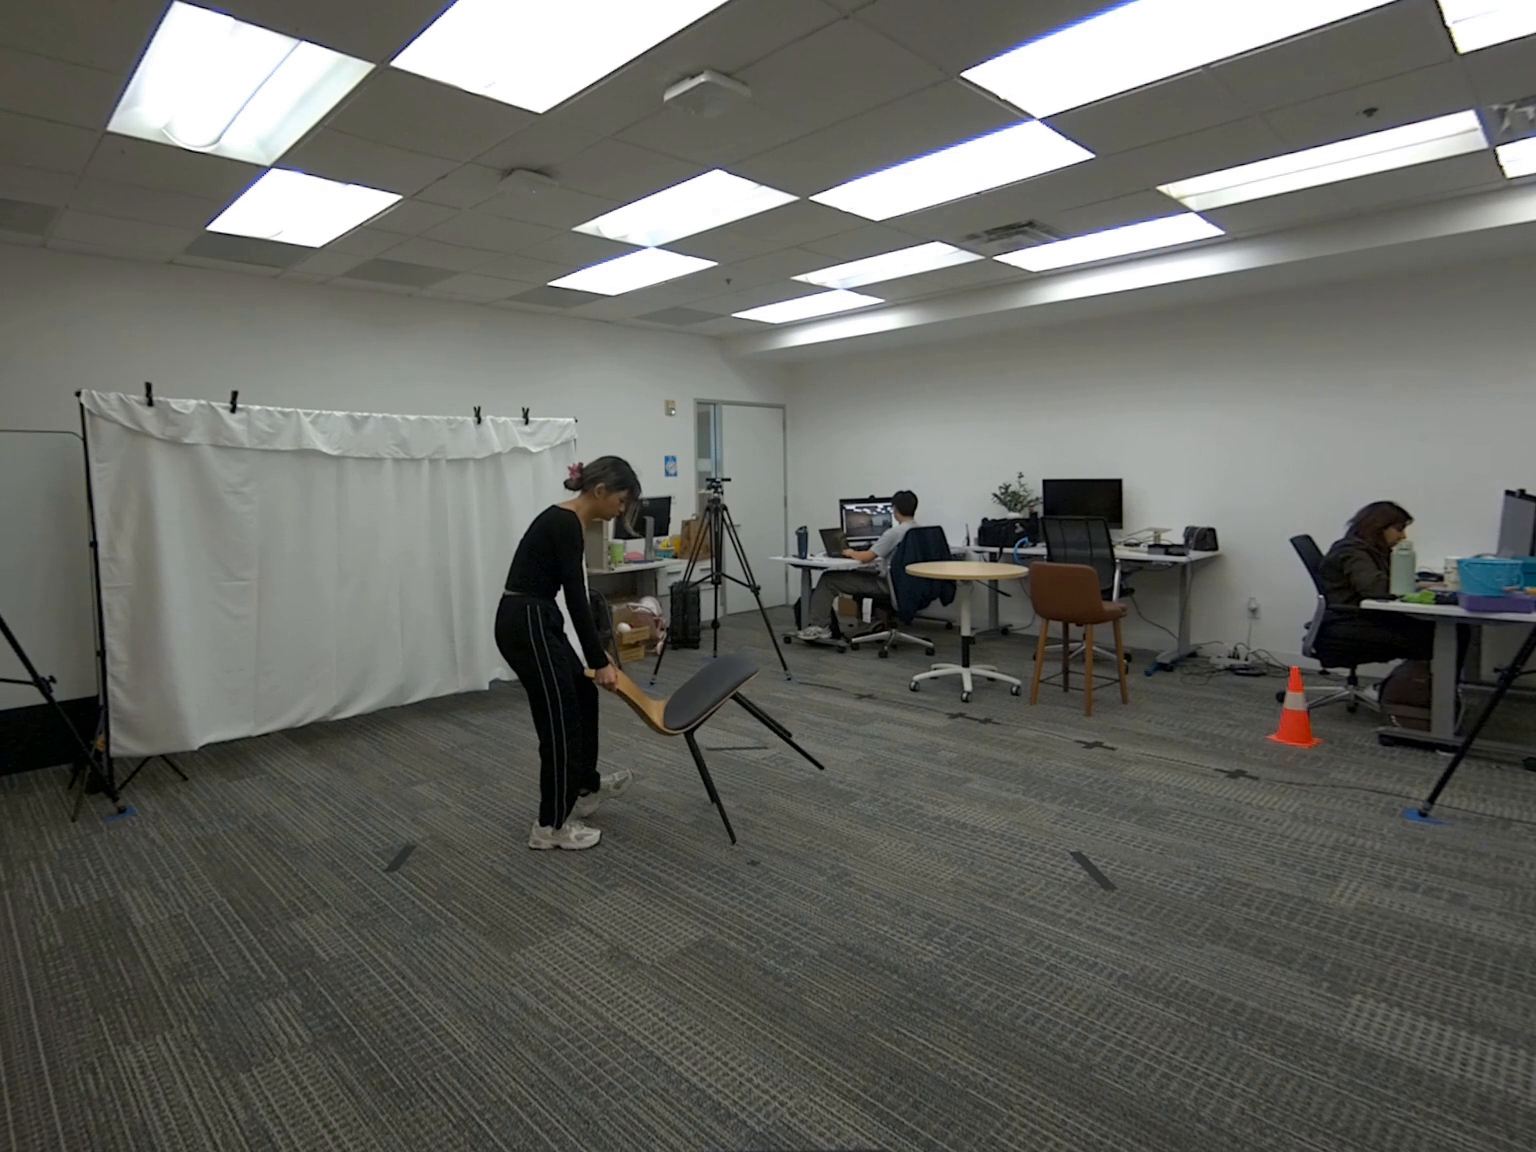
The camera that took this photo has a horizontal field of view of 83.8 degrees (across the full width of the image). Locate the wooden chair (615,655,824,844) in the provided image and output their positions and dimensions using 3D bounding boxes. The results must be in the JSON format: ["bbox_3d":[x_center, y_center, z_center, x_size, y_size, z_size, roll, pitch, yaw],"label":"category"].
[{"bbox_3d":[-0.251,0.521,3.439,0.523,0.866,0.484,-43,10,-6],"label":"wooden chair"}]
